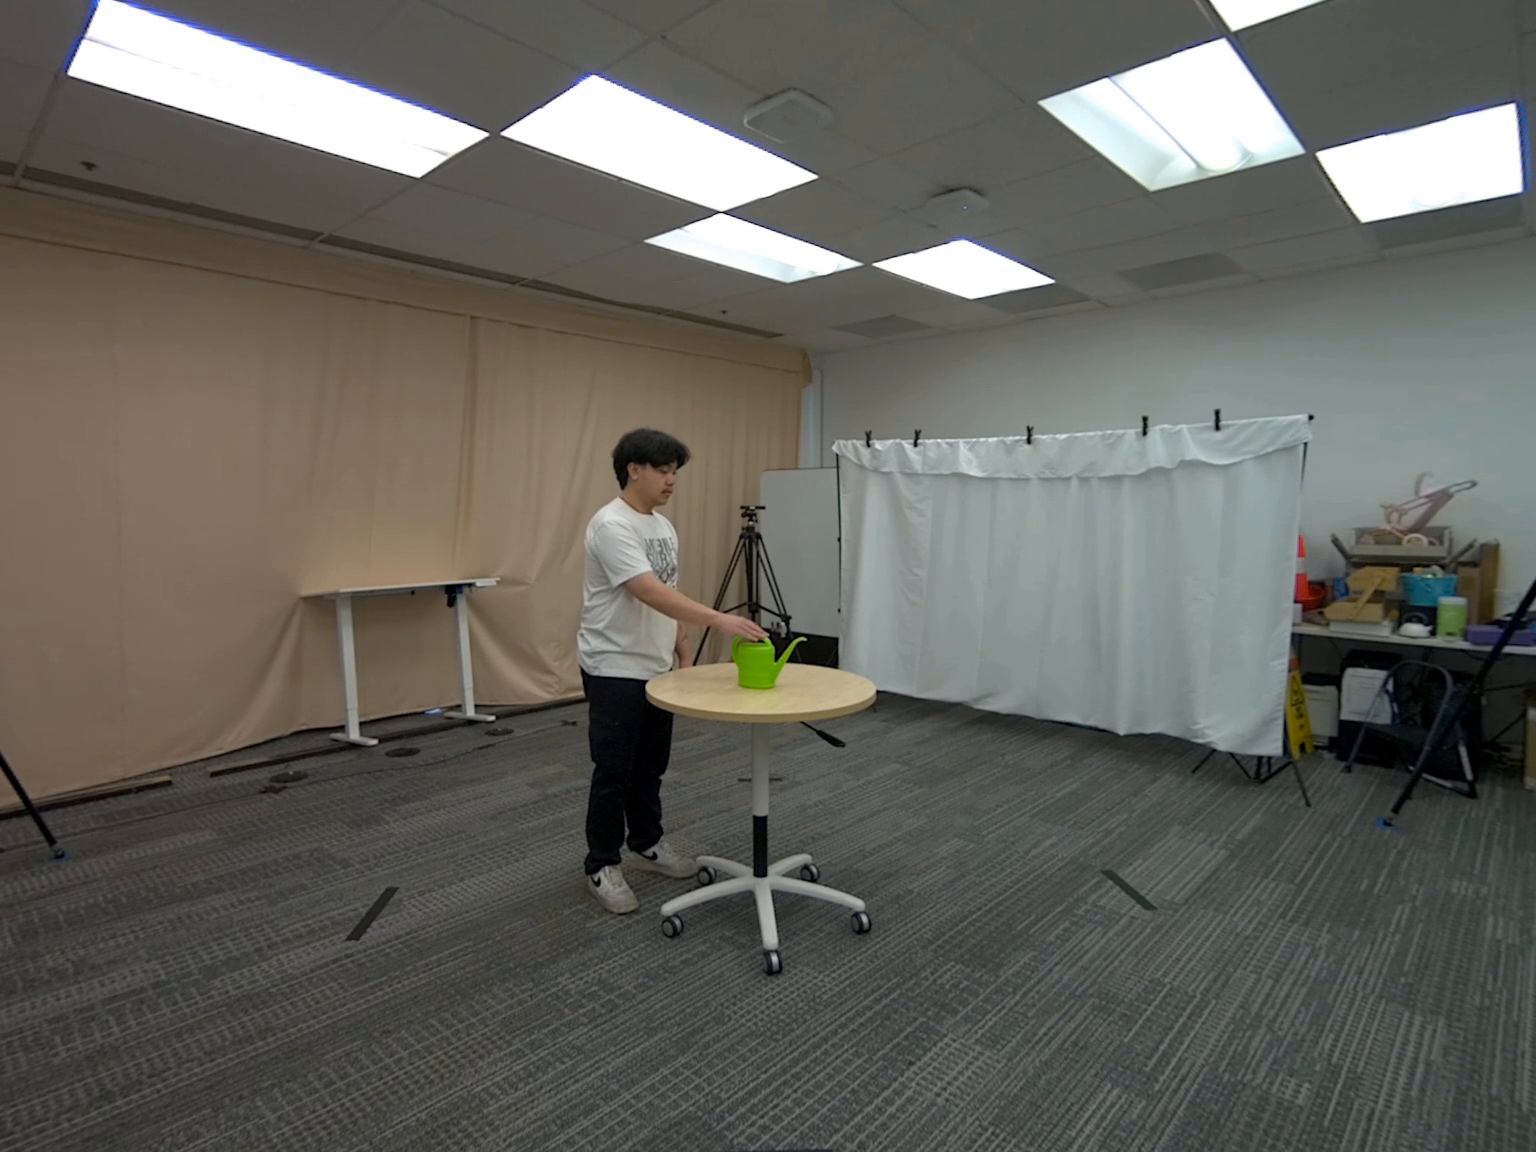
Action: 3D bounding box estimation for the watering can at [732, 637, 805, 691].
[{"bbox_3d":[-0.003,0.283,2.762,0.287,0.176,0.095,1,3,43],"label":"watering can"}]
